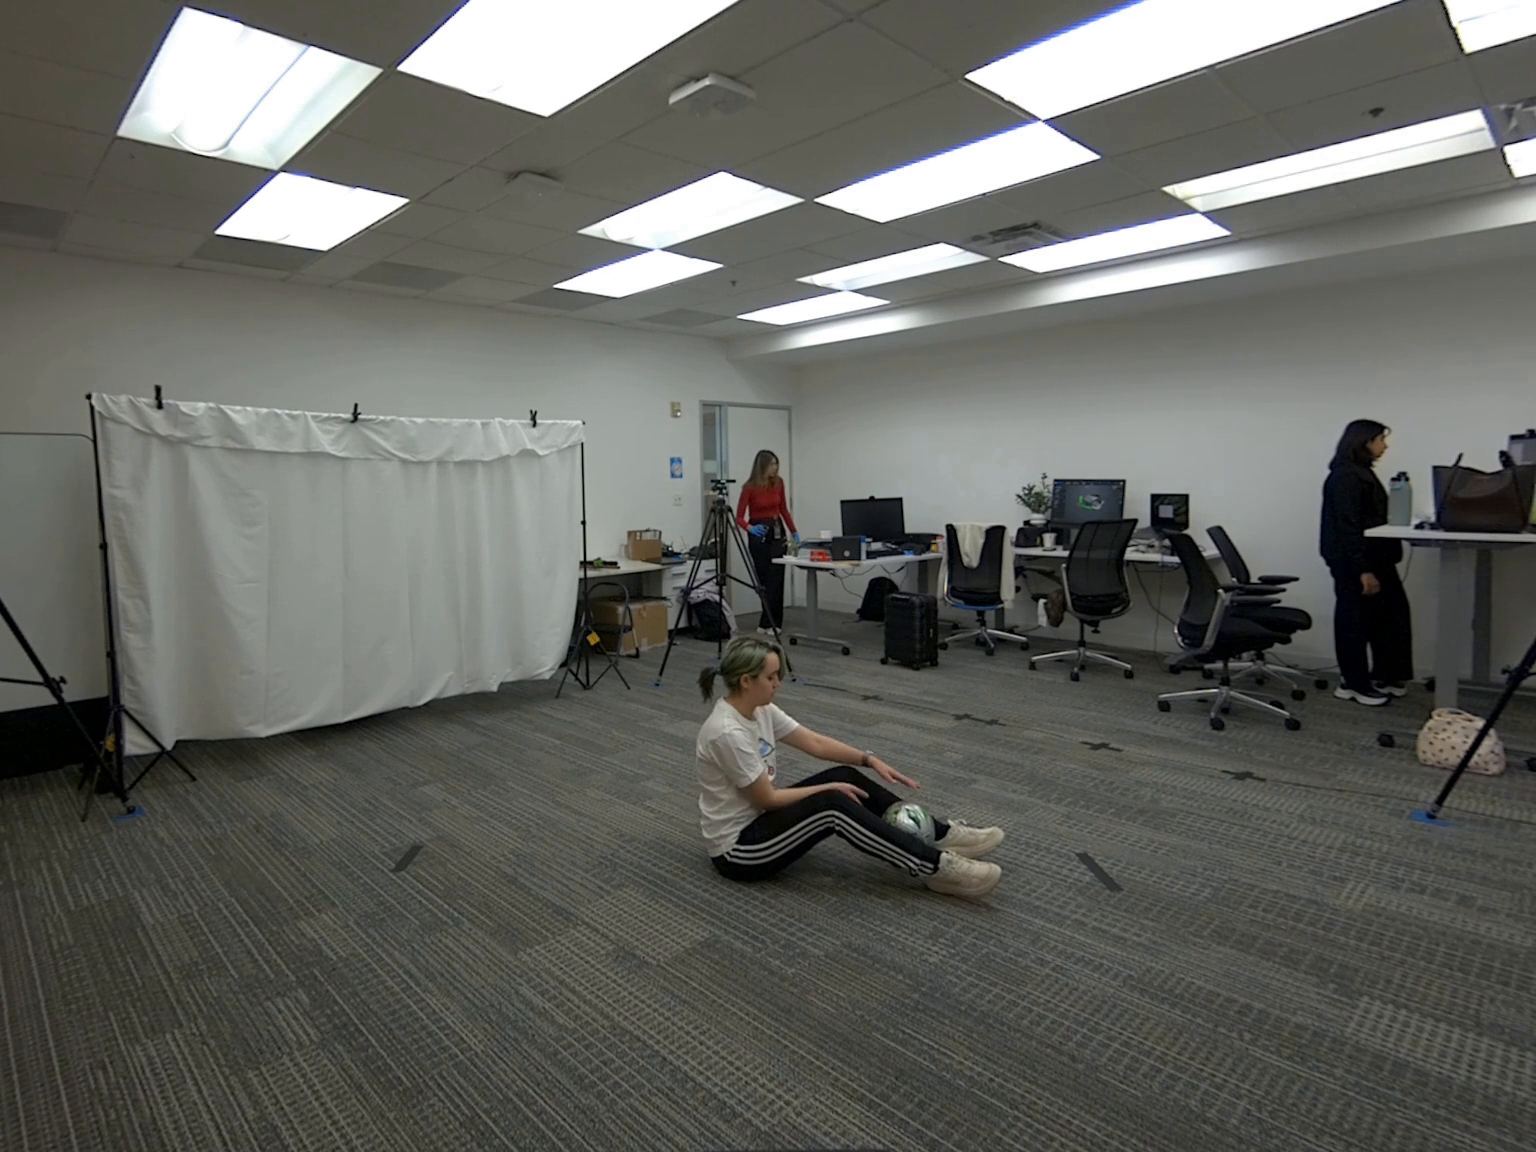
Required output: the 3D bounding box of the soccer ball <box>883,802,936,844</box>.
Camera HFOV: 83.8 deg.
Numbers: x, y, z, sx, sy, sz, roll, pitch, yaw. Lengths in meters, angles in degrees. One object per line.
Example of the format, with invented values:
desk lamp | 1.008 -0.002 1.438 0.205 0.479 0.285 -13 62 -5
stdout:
soccer ball | 0.473 0.879 2.991 0.187 0.187 0.188 -1 5 -2
